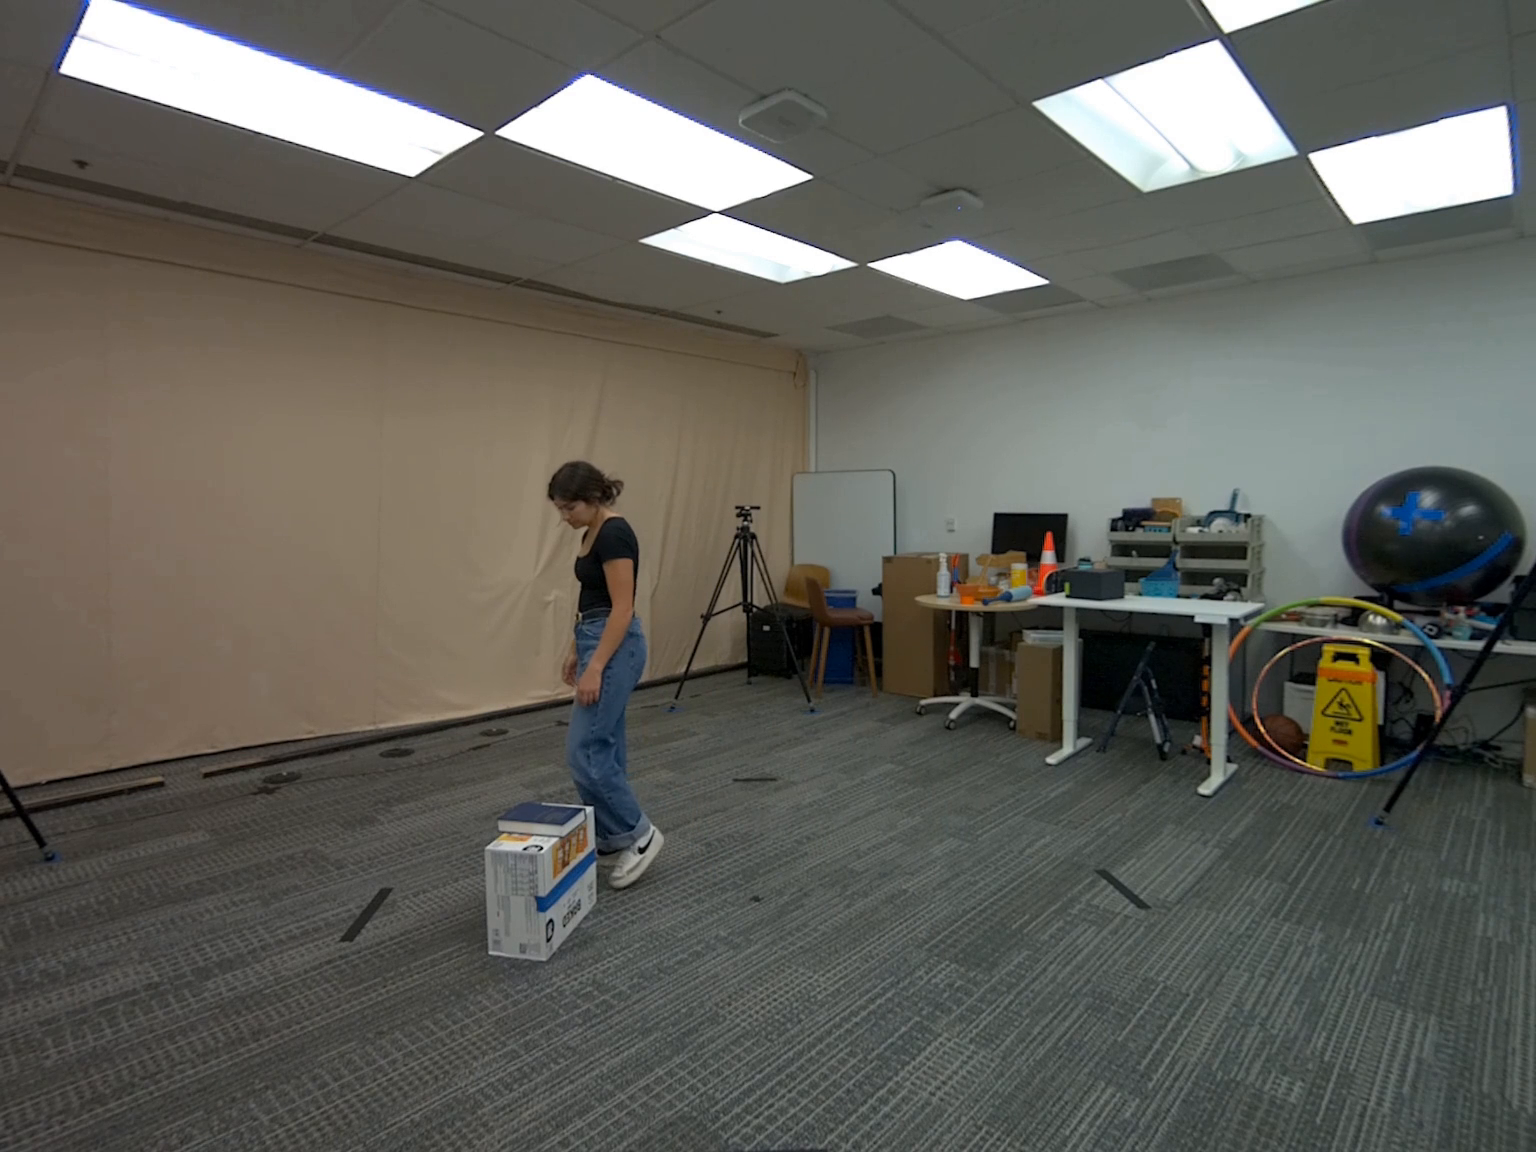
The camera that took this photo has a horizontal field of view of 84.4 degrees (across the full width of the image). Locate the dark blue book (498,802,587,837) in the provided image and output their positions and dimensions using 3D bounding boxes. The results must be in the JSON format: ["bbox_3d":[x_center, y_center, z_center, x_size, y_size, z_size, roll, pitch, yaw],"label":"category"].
[{"bbox_3d":[-0.745,0.803,2.790,0.249,0.045,0.161,-1,5,17],"label":"dark blue book"}]
